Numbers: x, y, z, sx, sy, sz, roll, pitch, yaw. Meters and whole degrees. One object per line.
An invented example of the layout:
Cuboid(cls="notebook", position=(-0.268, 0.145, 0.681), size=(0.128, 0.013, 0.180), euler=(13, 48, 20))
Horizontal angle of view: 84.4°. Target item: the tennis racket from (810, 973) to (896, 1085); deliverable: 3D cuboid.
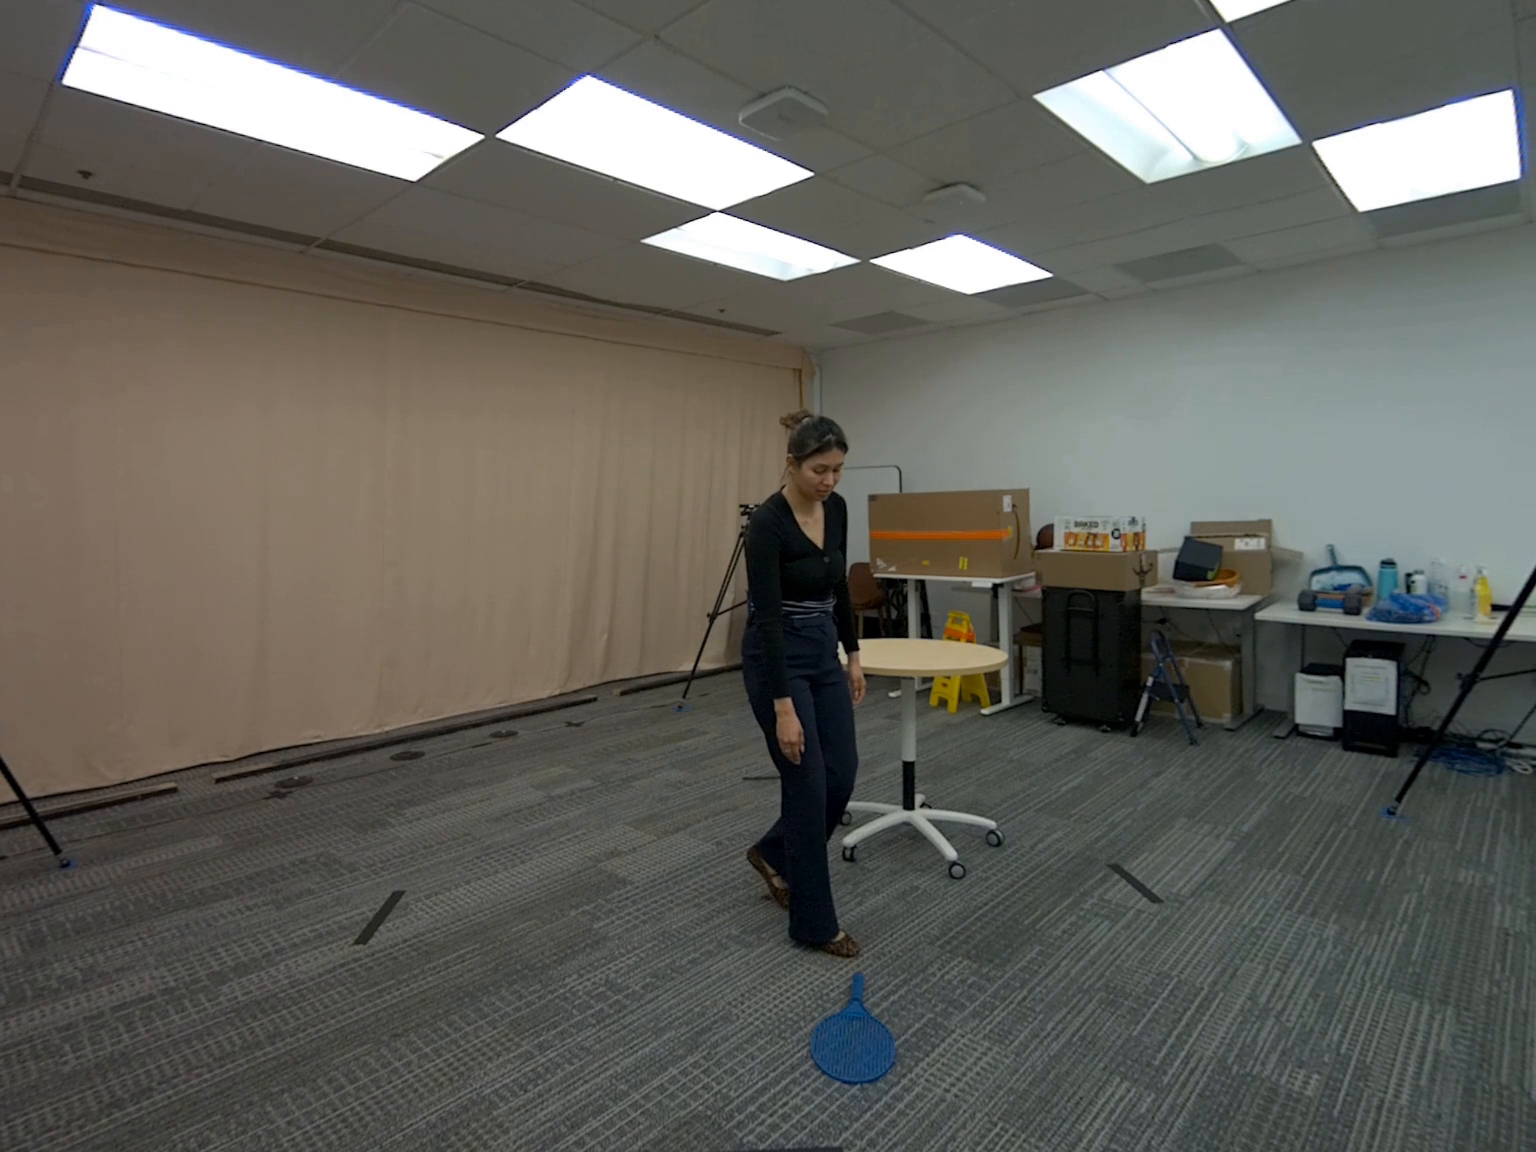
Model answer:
Cuboid(cls="tennis racket", position=(0.228, 1.184, 2.234), size=(0.216, 0.031, 0.430), euler=(0, 7, 8))
